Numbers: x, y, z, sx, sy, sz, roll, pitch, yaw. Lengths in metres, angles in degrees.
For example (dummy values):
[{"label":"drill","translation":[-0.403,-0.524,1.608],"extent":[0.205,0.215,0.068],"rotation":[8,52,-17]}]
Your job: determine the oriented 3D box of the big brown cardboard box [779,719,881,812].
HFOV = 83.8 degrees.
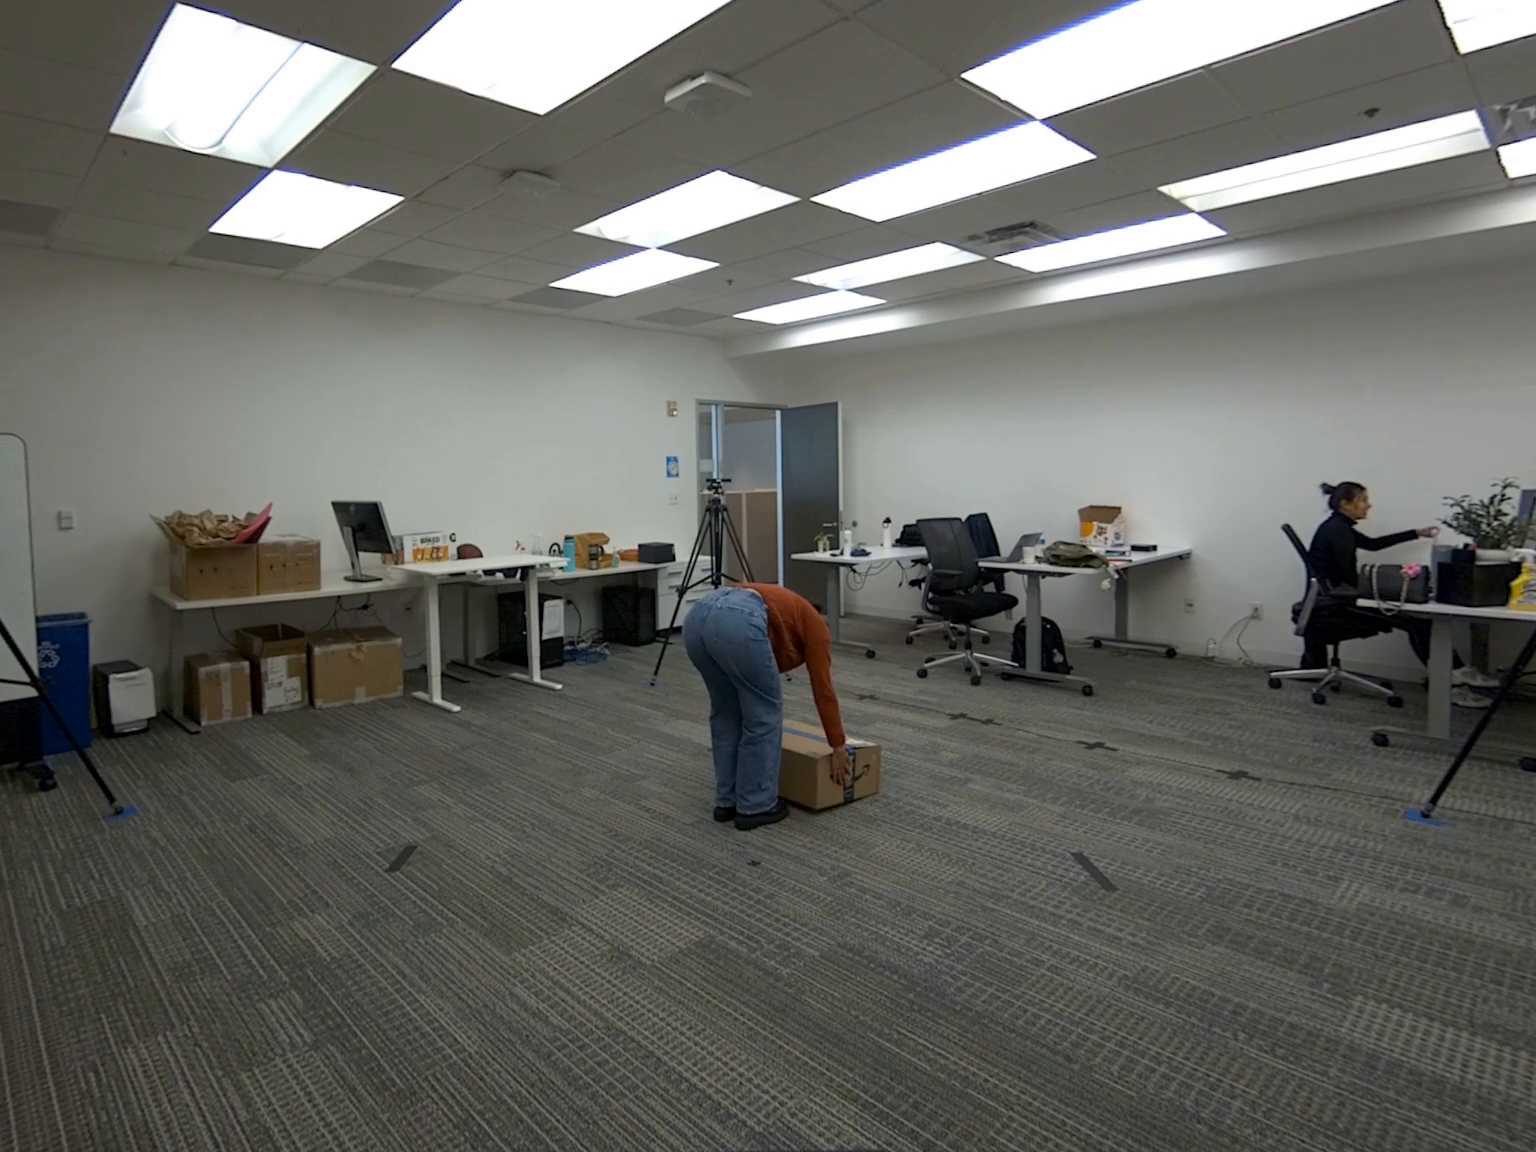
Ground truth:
[{"label":"big brown cardboard box","translation":[0.152,0.821,3.844],"extent":[0.405,0.233,0.607],"rotation":[0,4,-45]}]
